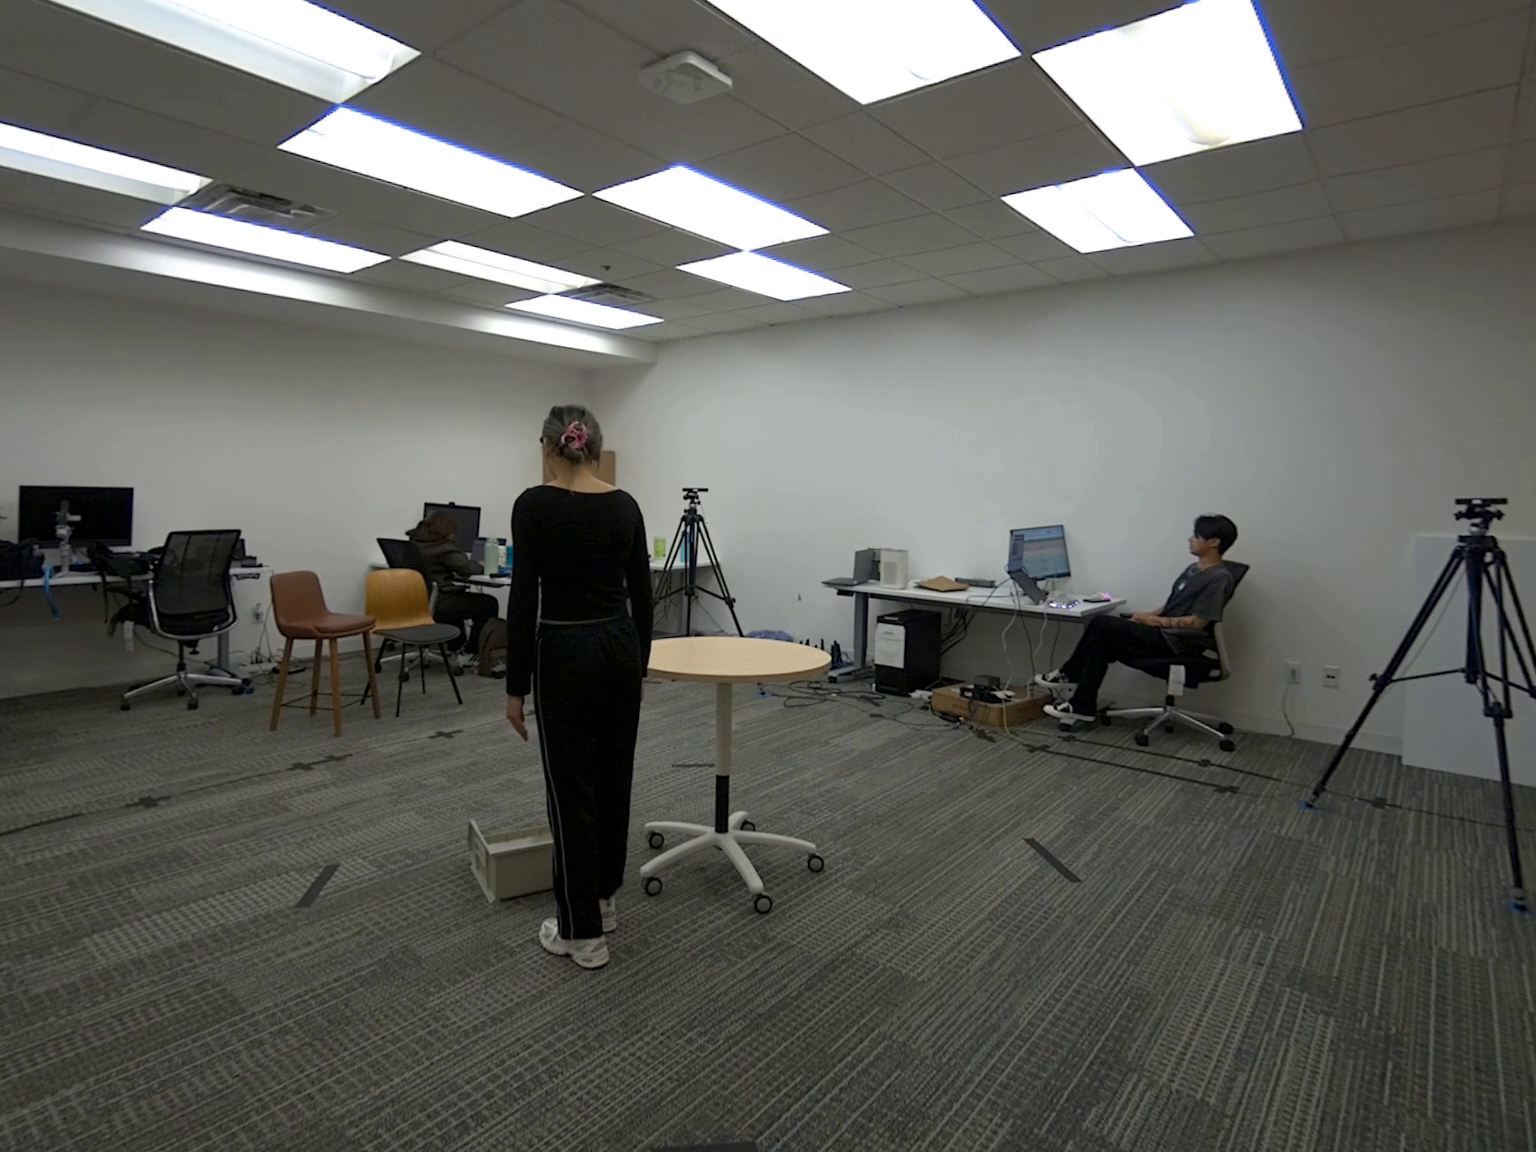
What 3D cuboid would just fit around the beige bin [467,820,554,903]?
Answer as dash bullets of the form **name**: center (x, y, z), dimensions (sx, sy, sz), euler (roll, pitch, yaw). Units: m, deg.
- **beige bin**: center (-0.844, 0.975, 3.060), dimensions (0.411, 0.188, 0.389), euler (-2, 6, -31)
